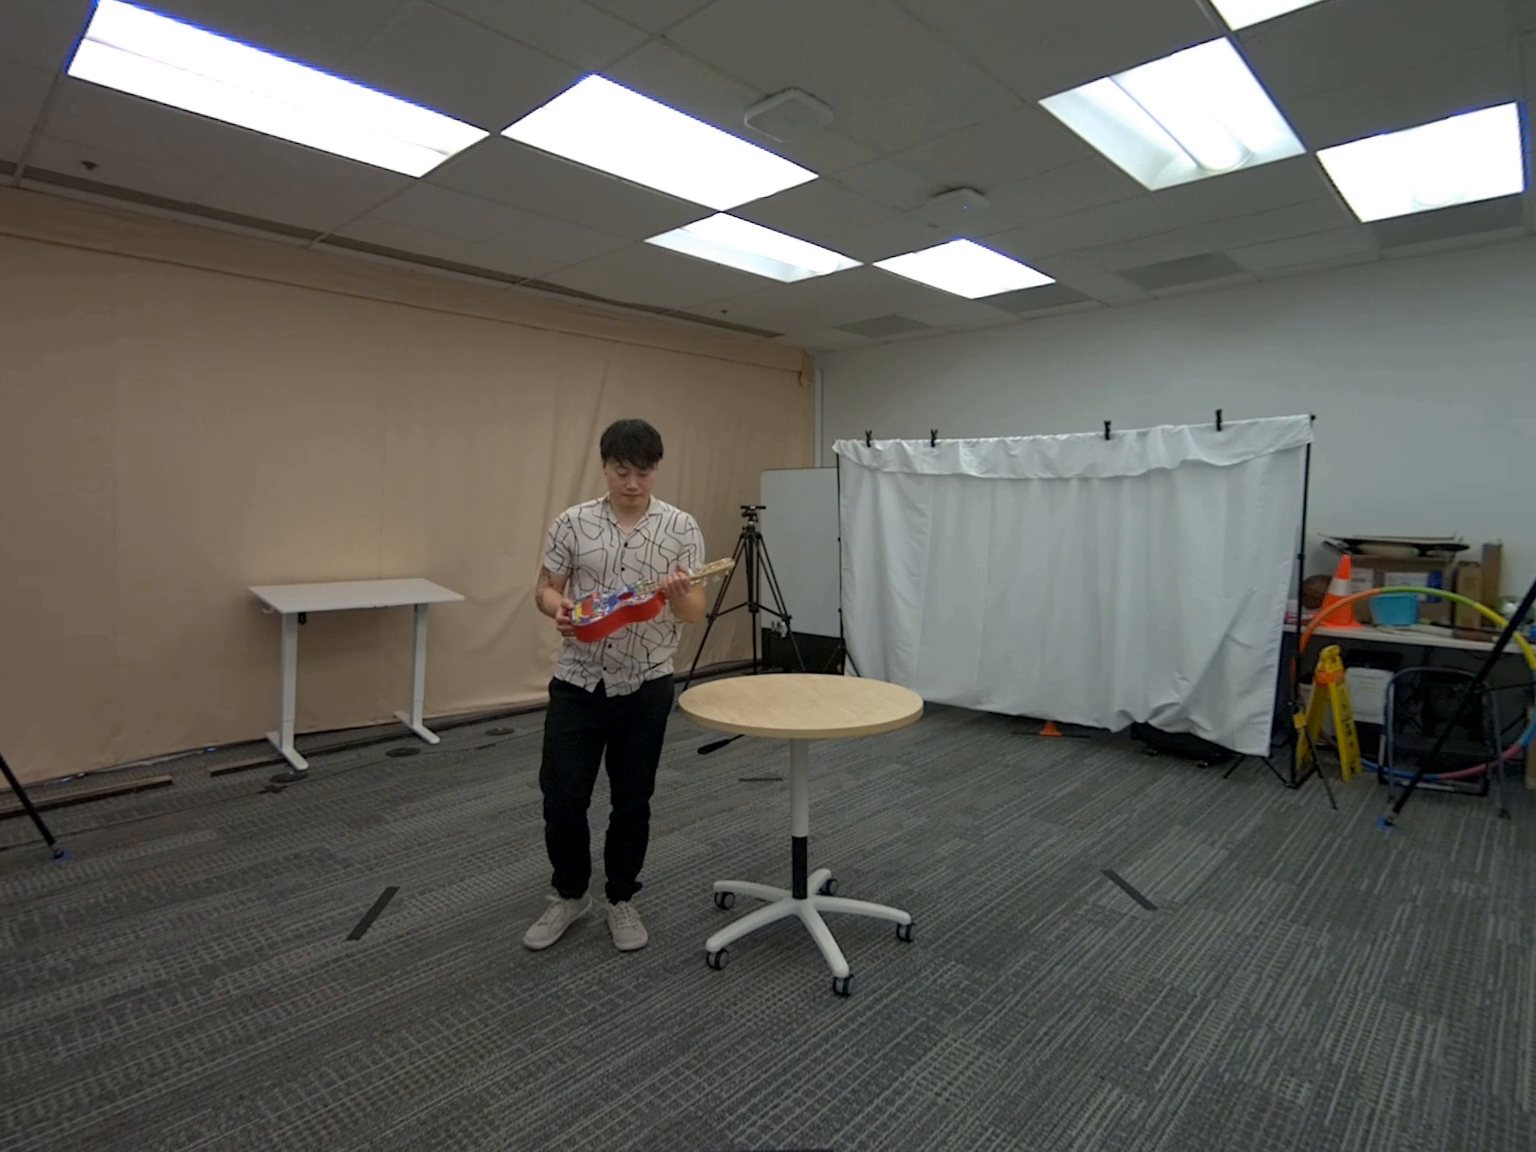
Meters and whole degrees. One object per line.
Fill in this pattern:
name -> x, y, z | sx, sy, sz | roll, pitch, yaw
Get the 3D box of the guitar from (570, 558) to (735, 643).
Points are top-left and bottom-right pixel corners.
guitar -> -0.336, 0.073, 2.404 | 0.500, 0.069, 0.196 | -15, 24, 4
